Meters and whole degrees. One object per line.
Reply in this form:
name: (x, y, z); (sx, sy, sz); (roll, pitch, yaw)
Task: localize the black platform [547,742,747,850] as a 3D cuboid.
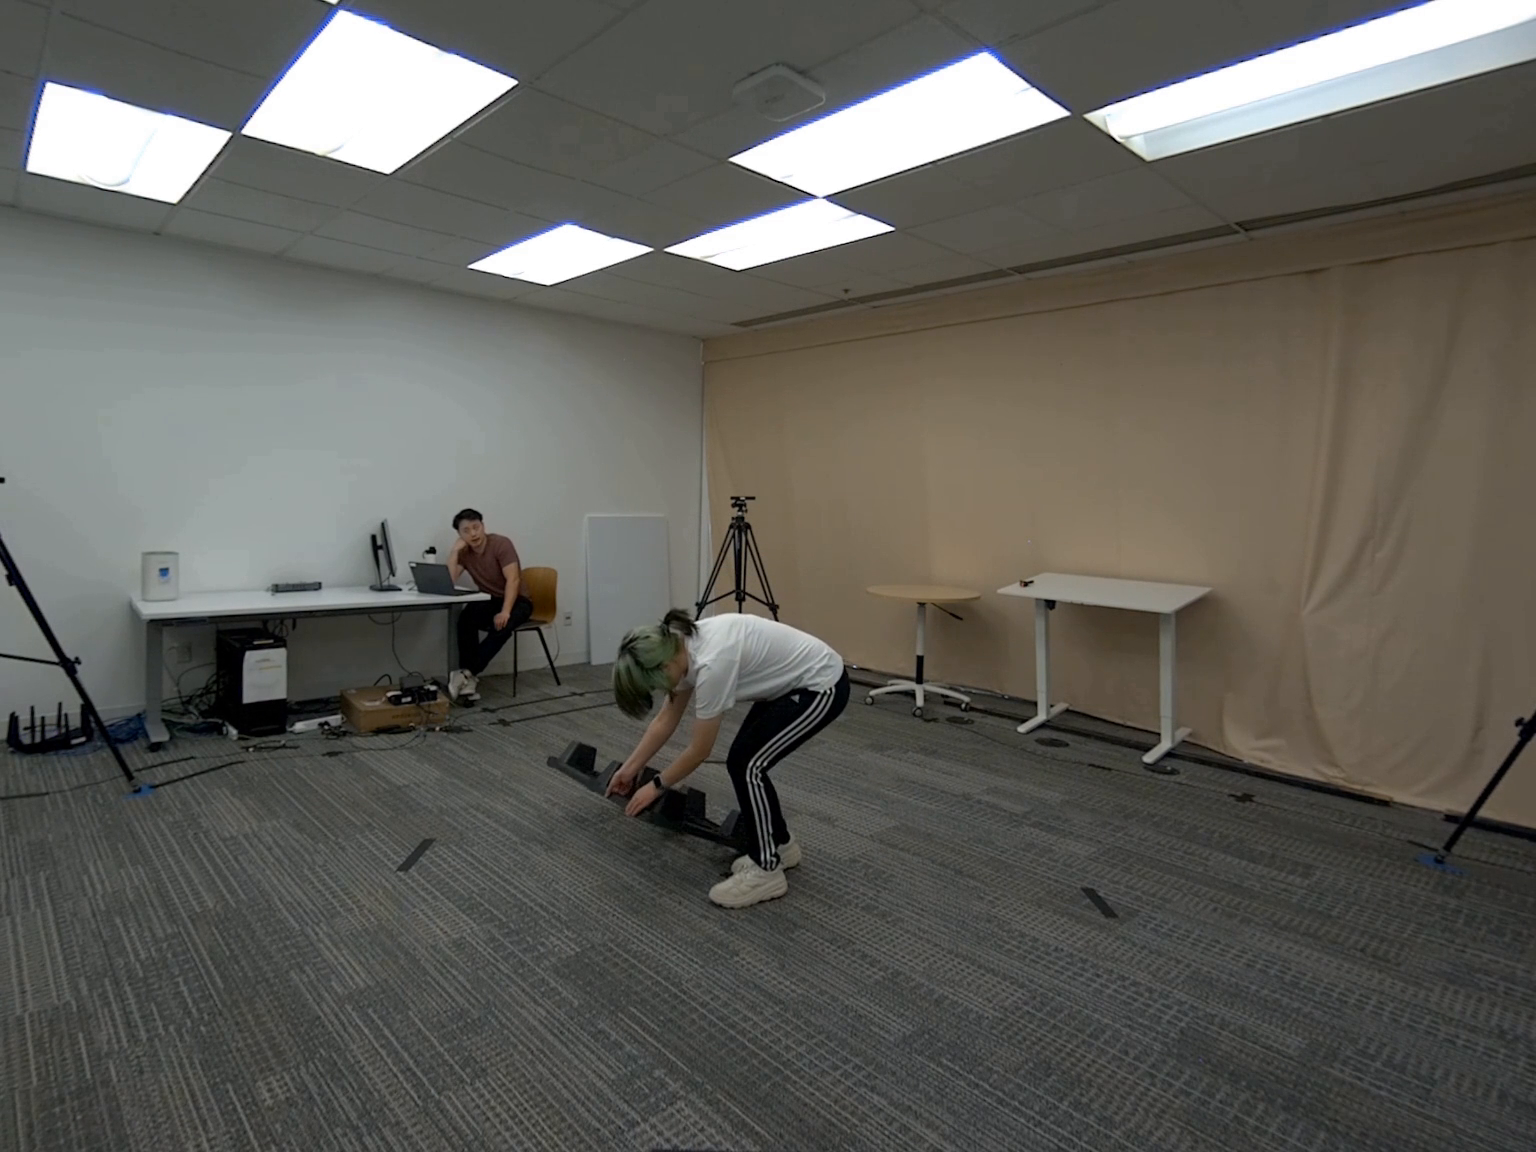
black platform: (-0.463, 0.888, 3.413); (0.587, 0.144, 0.826); (30, -14, -37)
